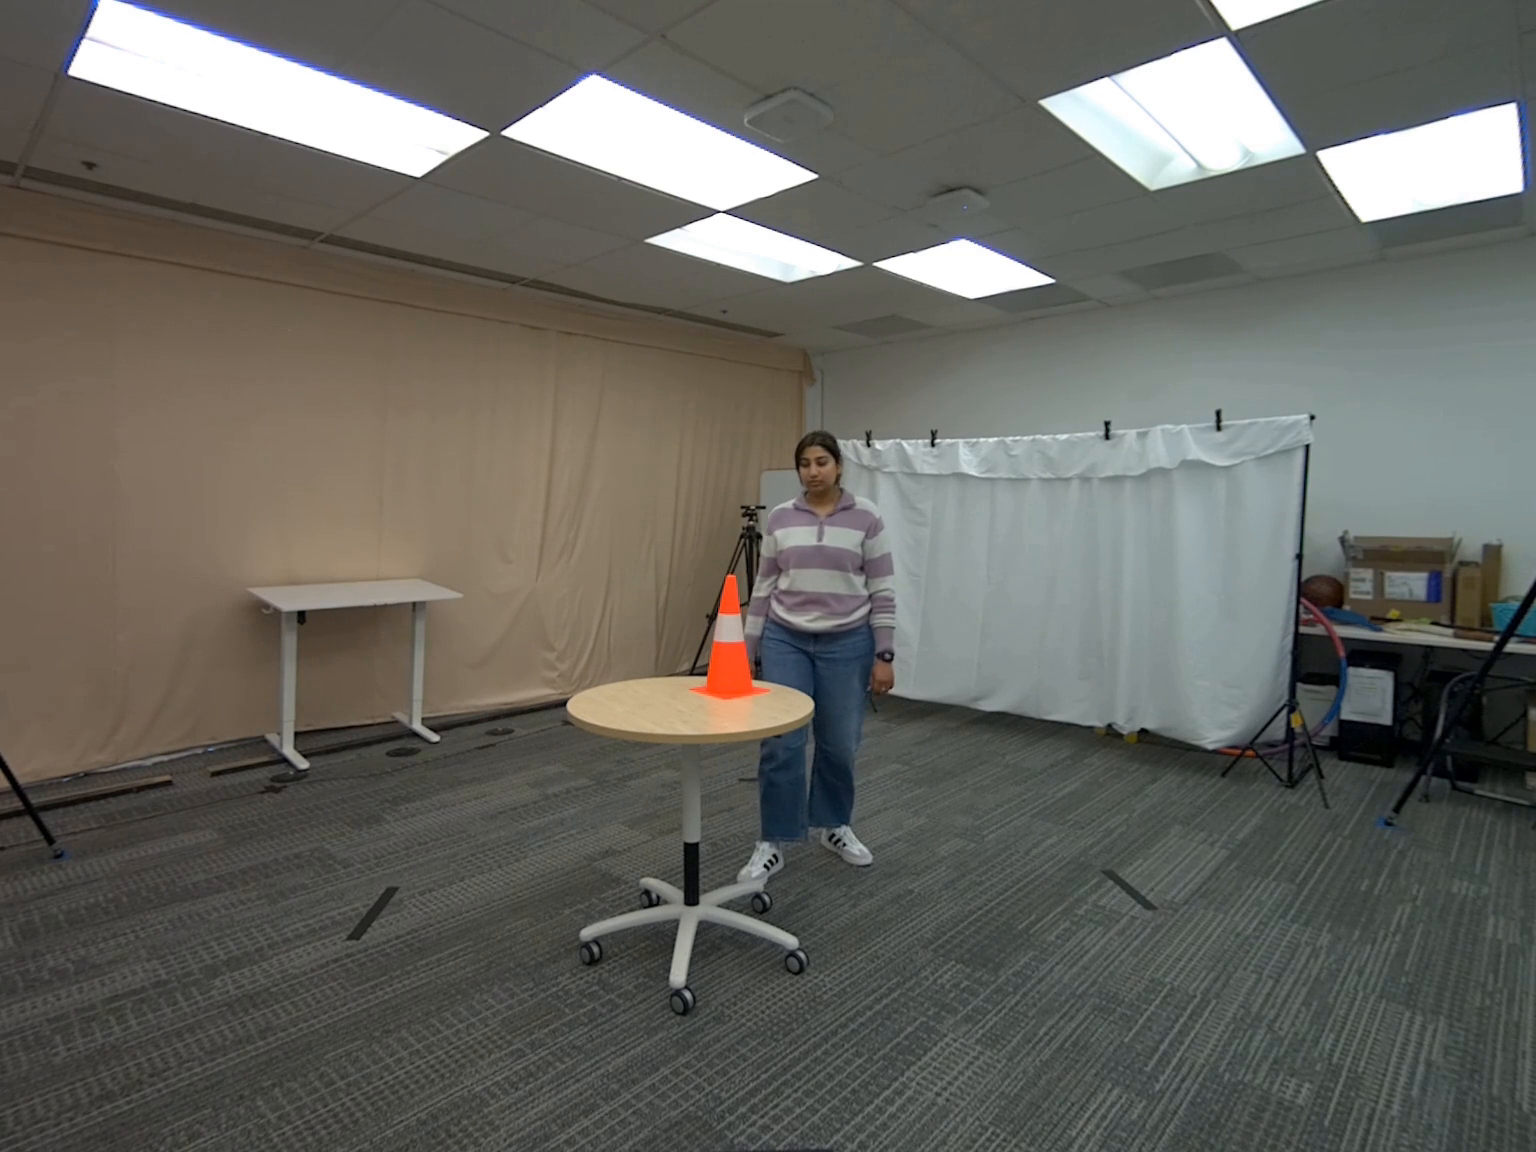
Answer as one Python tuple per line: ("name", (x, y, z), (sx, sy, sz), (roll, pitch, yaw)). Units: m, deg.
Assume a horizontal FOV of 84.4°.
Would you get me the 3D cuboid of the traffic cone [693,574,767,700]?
("traffic cone", (-0.122, 0.191, 2.773), (0.210, 0.383, 0.199), (5, 4, 39))
